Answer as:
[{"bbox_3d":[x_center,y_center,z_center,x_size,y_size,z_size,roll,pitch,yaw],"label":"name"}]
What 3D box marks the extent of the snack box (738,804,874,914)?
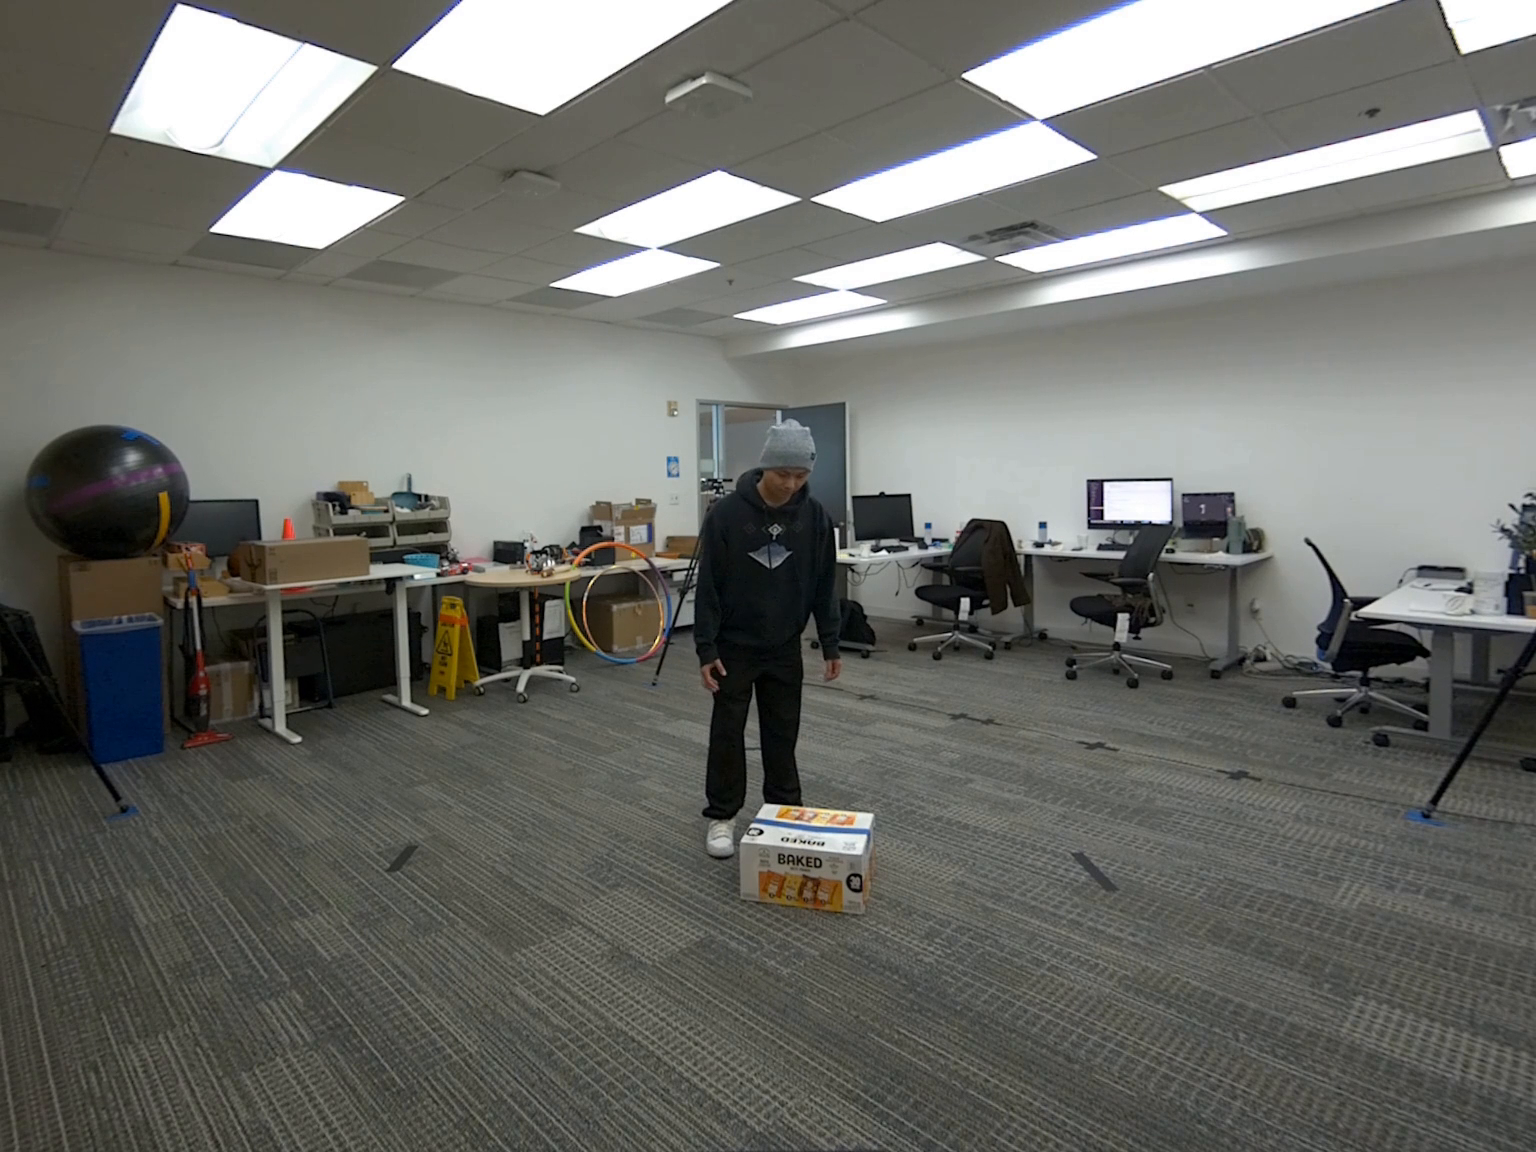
[{"bbox_3d":[0.148,0.961,2.928,0.411,0.205,0.337,1,6,15],"label":"snack box"}]
